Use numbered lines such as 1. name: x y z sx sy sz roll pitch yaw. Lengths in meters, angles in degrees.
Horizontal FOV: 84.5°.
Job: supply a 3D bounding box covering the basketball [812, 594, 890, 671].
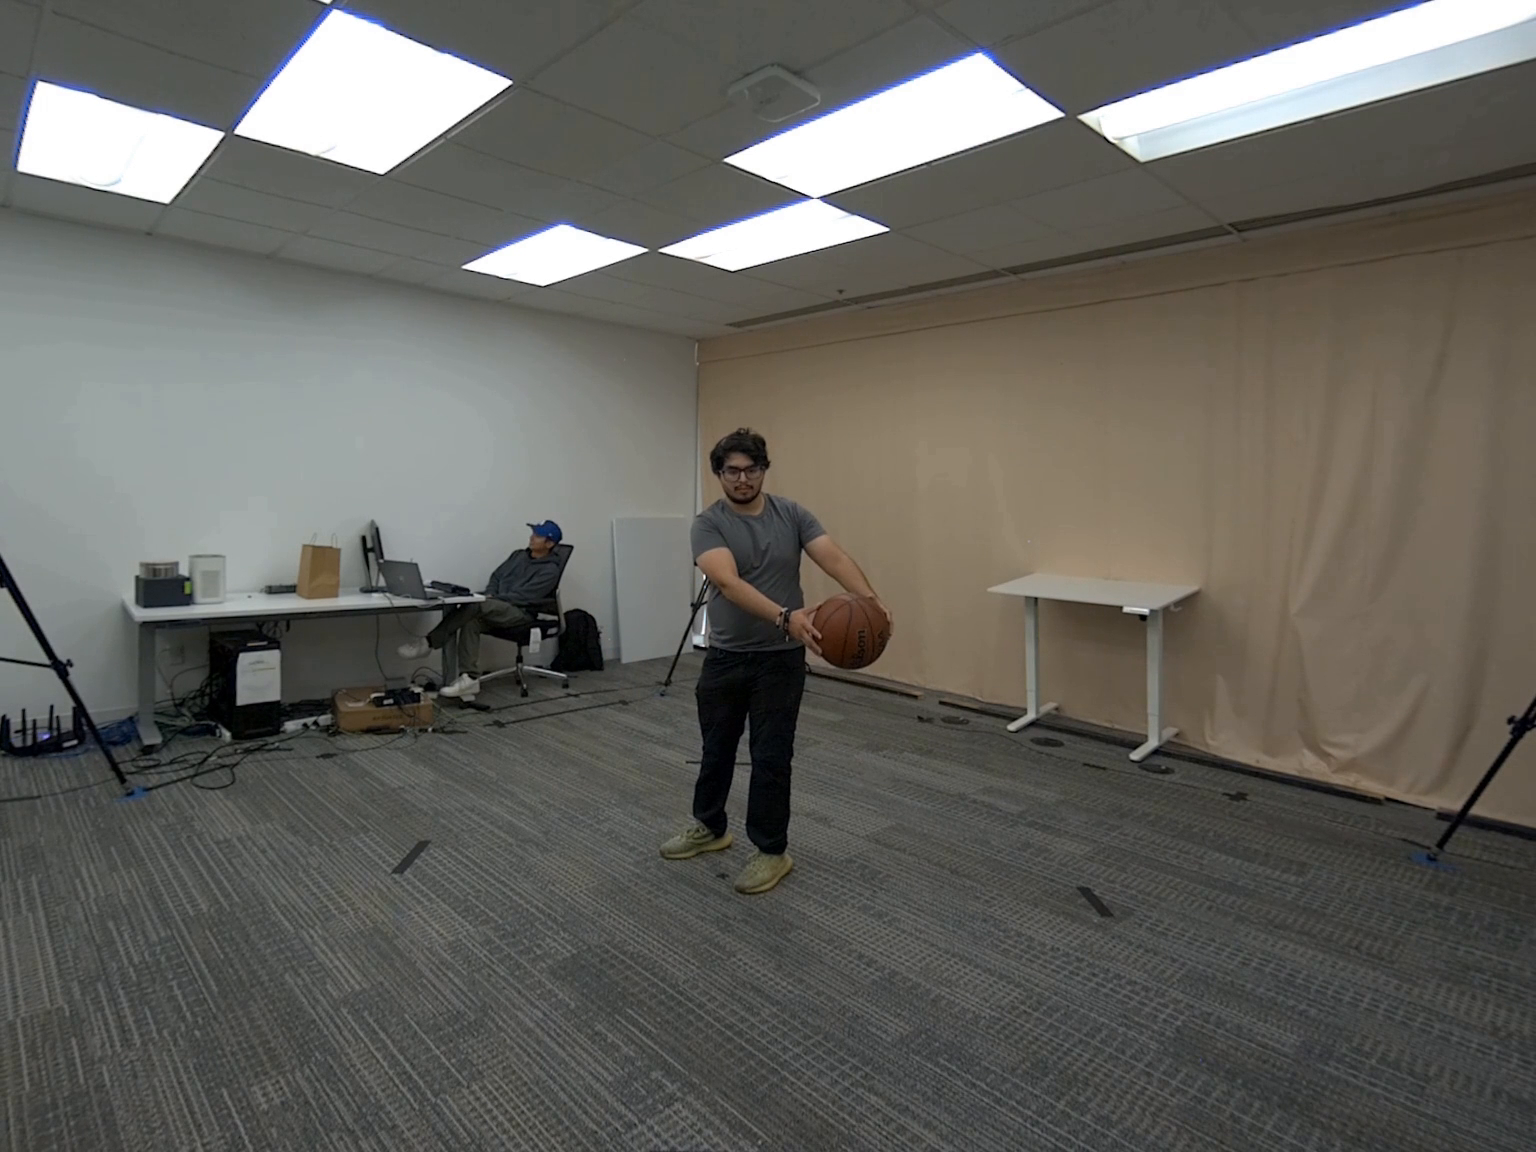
1. basketball: 0.254 0.170 2.615 0.236 0.235 0.237 1 4 -1
